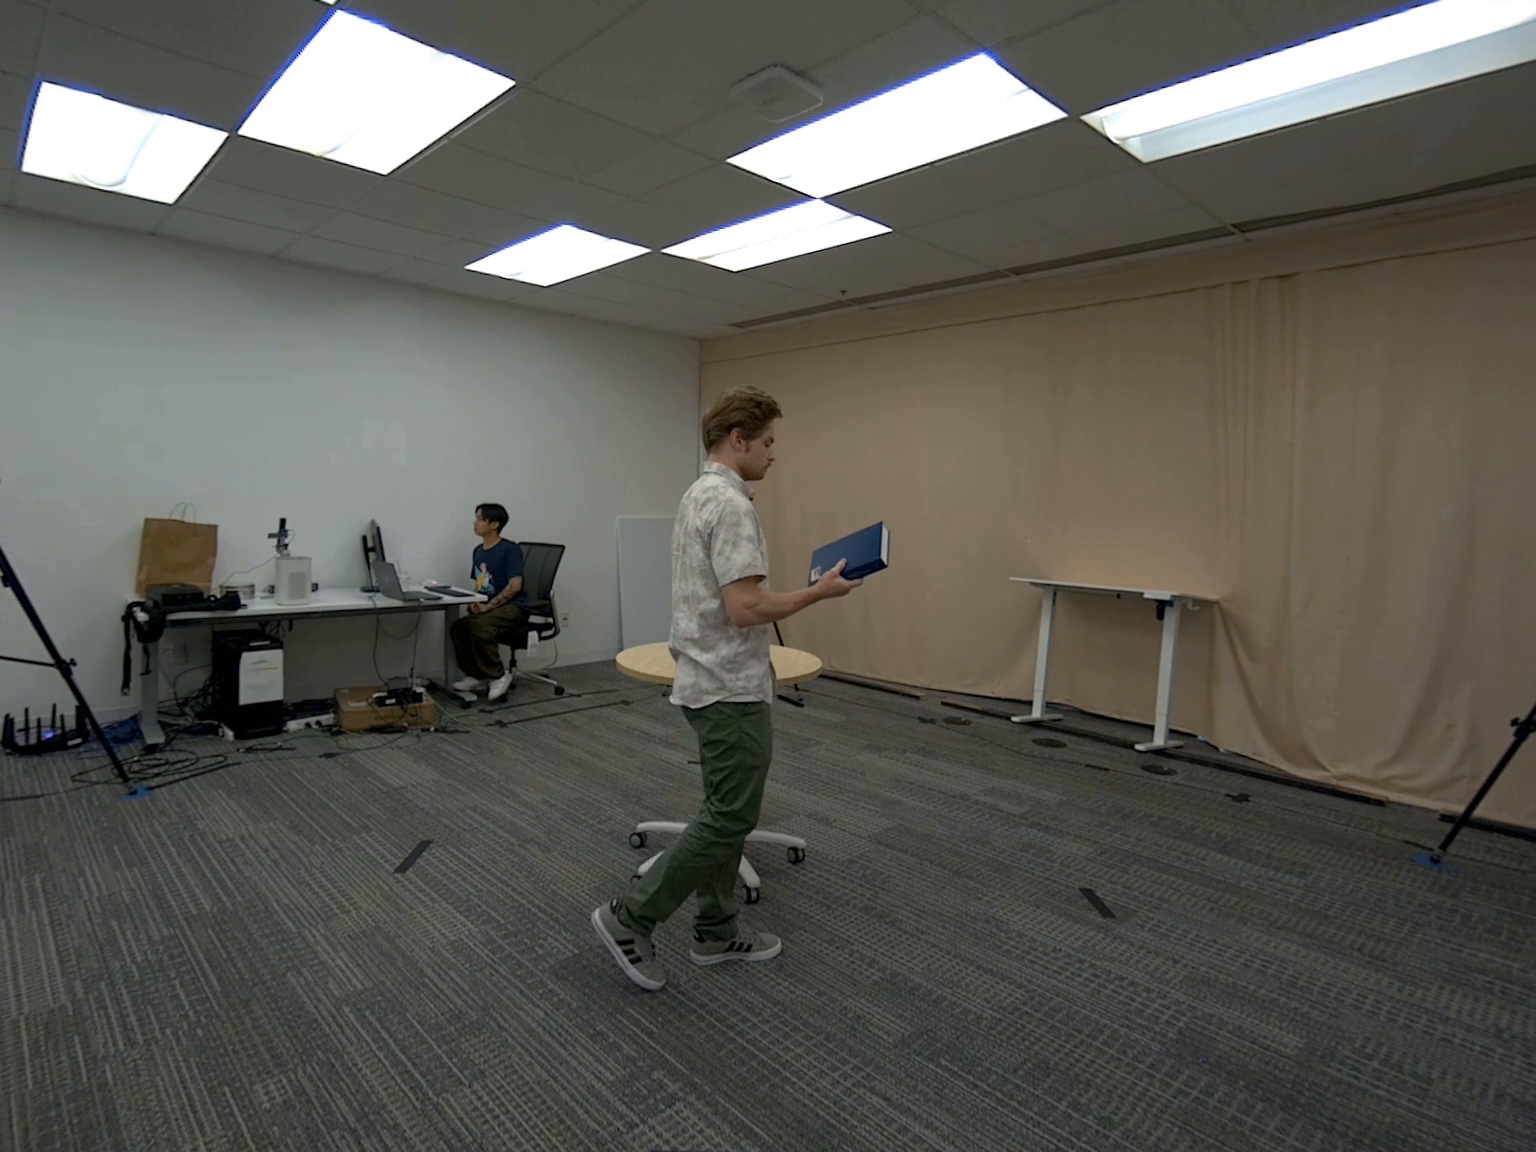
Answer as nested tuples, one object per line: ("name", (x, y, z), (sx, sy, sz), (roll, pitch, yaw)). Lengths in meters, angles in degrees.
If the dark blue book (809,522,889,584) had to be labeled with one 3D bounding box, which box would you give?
("dark blue book", (0.233, -0.050, 2.430), (0.247, 0.044, 0.166), (-24, 33, 29))
